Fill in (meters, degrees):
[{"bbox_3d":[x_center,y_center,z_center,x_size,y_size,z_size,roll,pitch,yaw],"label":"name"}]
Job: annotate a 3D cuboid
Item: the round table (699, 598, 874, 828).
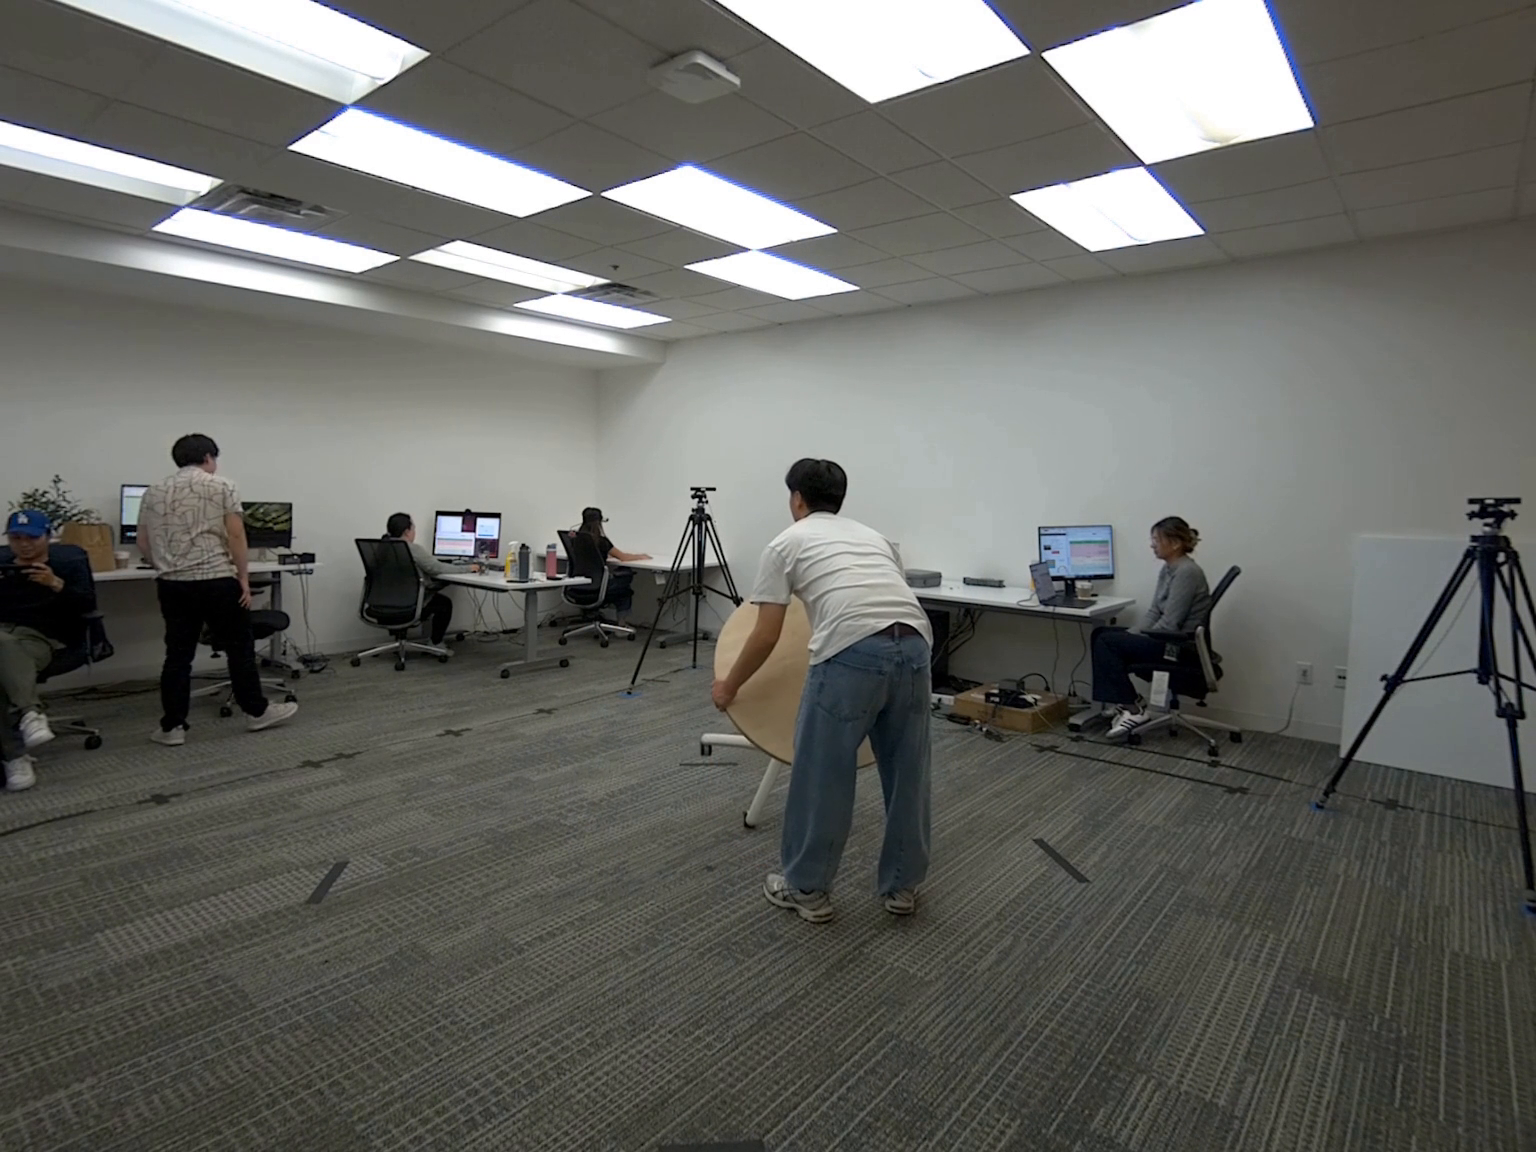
[{"bbox_3d":[0.088,0.560,3.416,0.776,0.810,0.771,0,-38,-12],"label":"round table"}]
